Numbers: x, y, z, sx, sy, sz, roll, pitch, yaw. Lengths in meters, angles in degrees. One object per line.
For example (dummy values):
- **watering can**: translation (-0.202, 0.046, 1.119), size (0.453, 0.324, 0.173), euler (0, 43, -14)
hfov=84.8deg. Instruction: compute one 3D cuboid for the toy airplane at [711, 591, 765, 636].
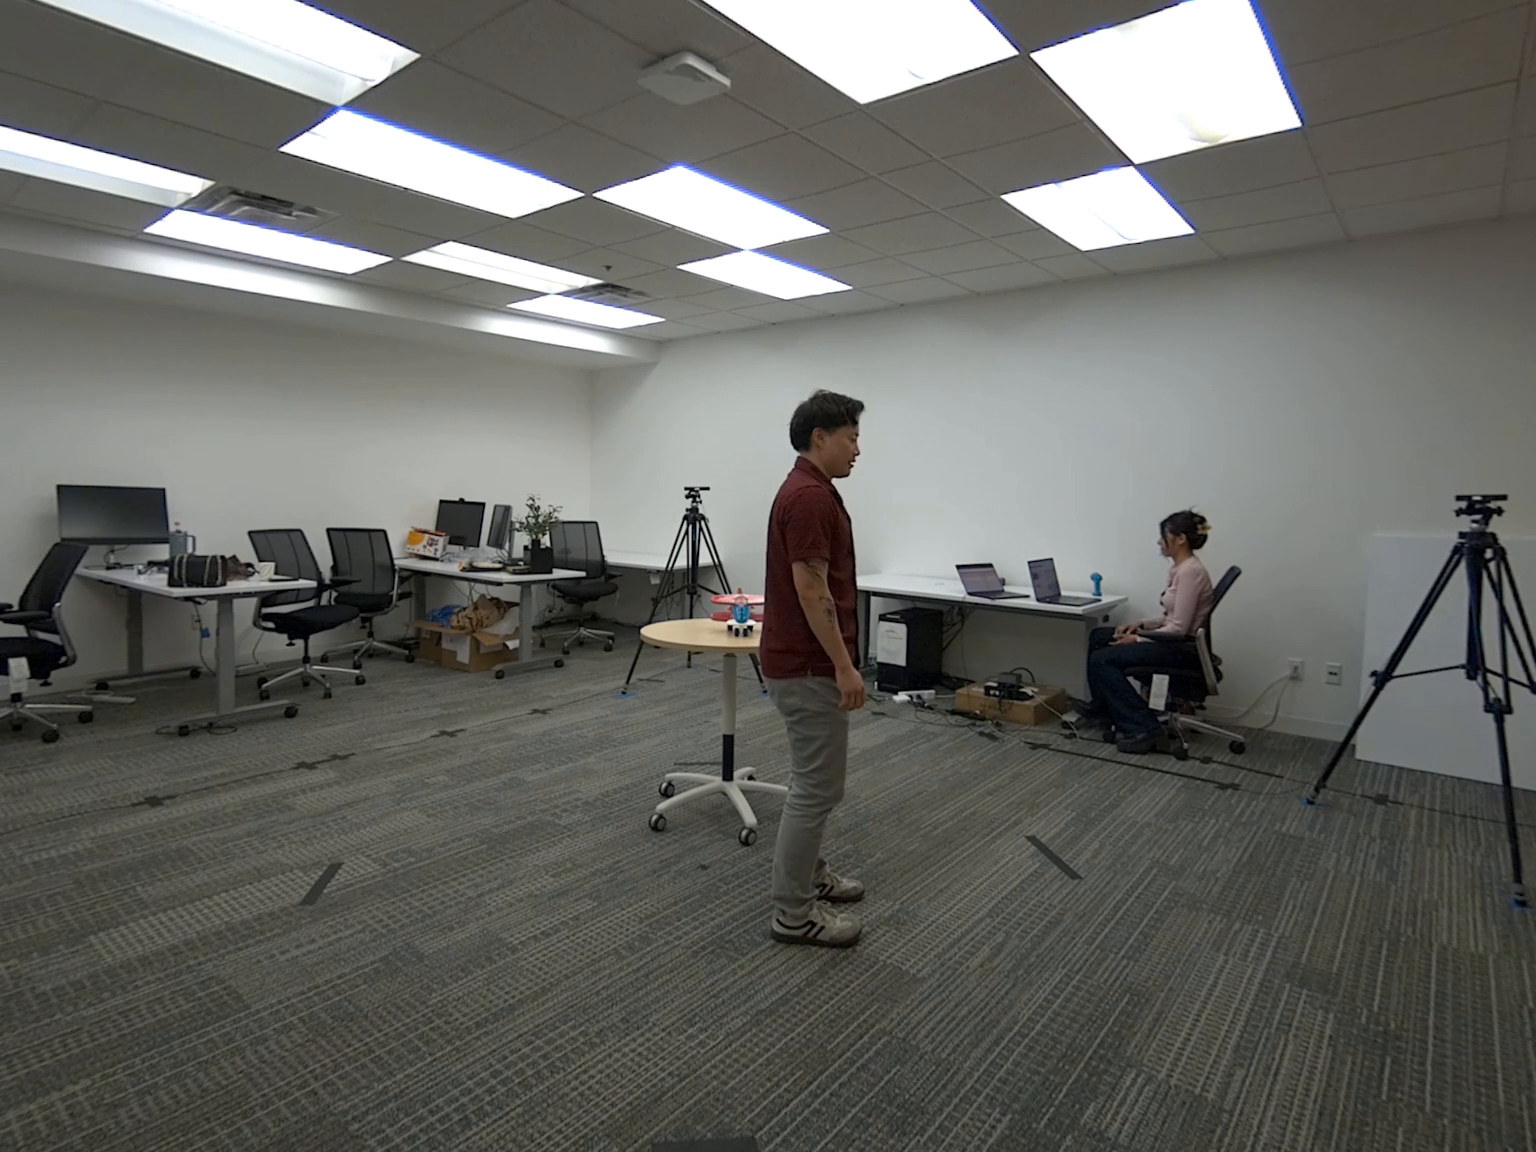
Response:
- **toy airplane**: translation (-0.106, 0.159, 3.585), size (0.244, 0.156, 0.267), euler (-2, 4, -32)
